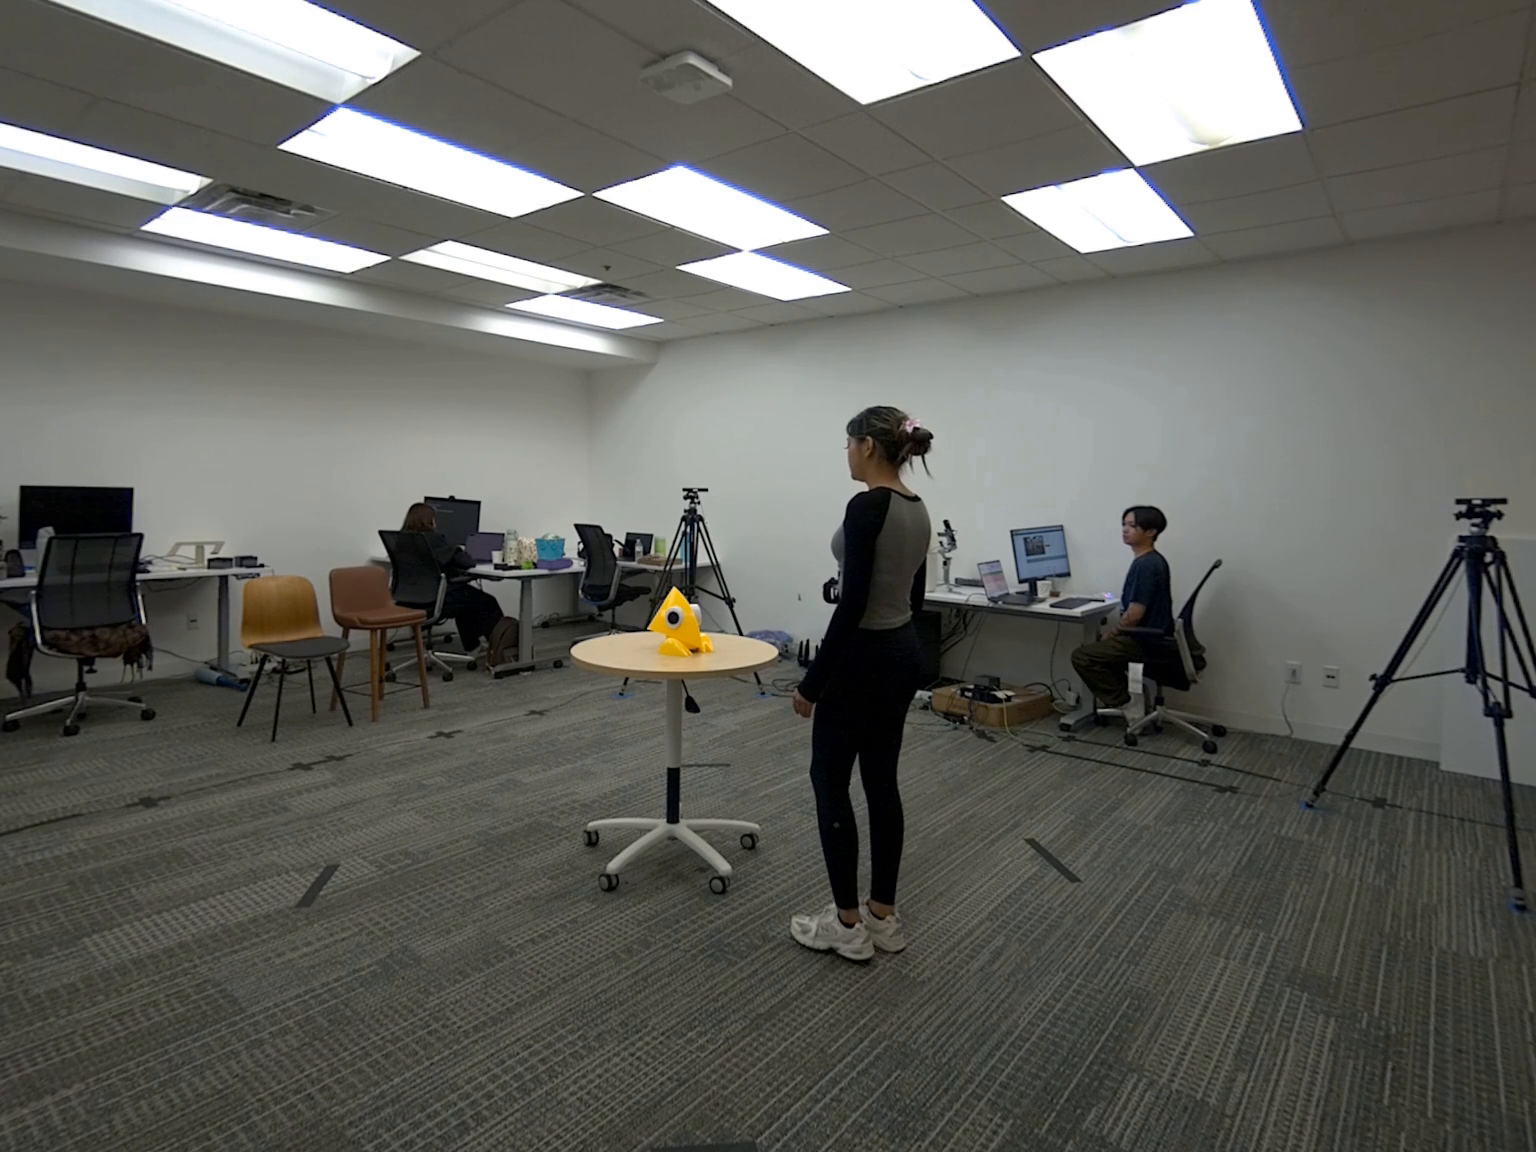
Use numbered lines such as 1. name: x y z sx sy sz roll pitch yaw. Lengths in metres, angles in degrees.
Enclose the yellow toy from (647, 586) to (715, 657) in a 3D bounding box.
1. yellow toy: -0.316 0.160 3.120 0.200 0.230 0.198 6 7 45
